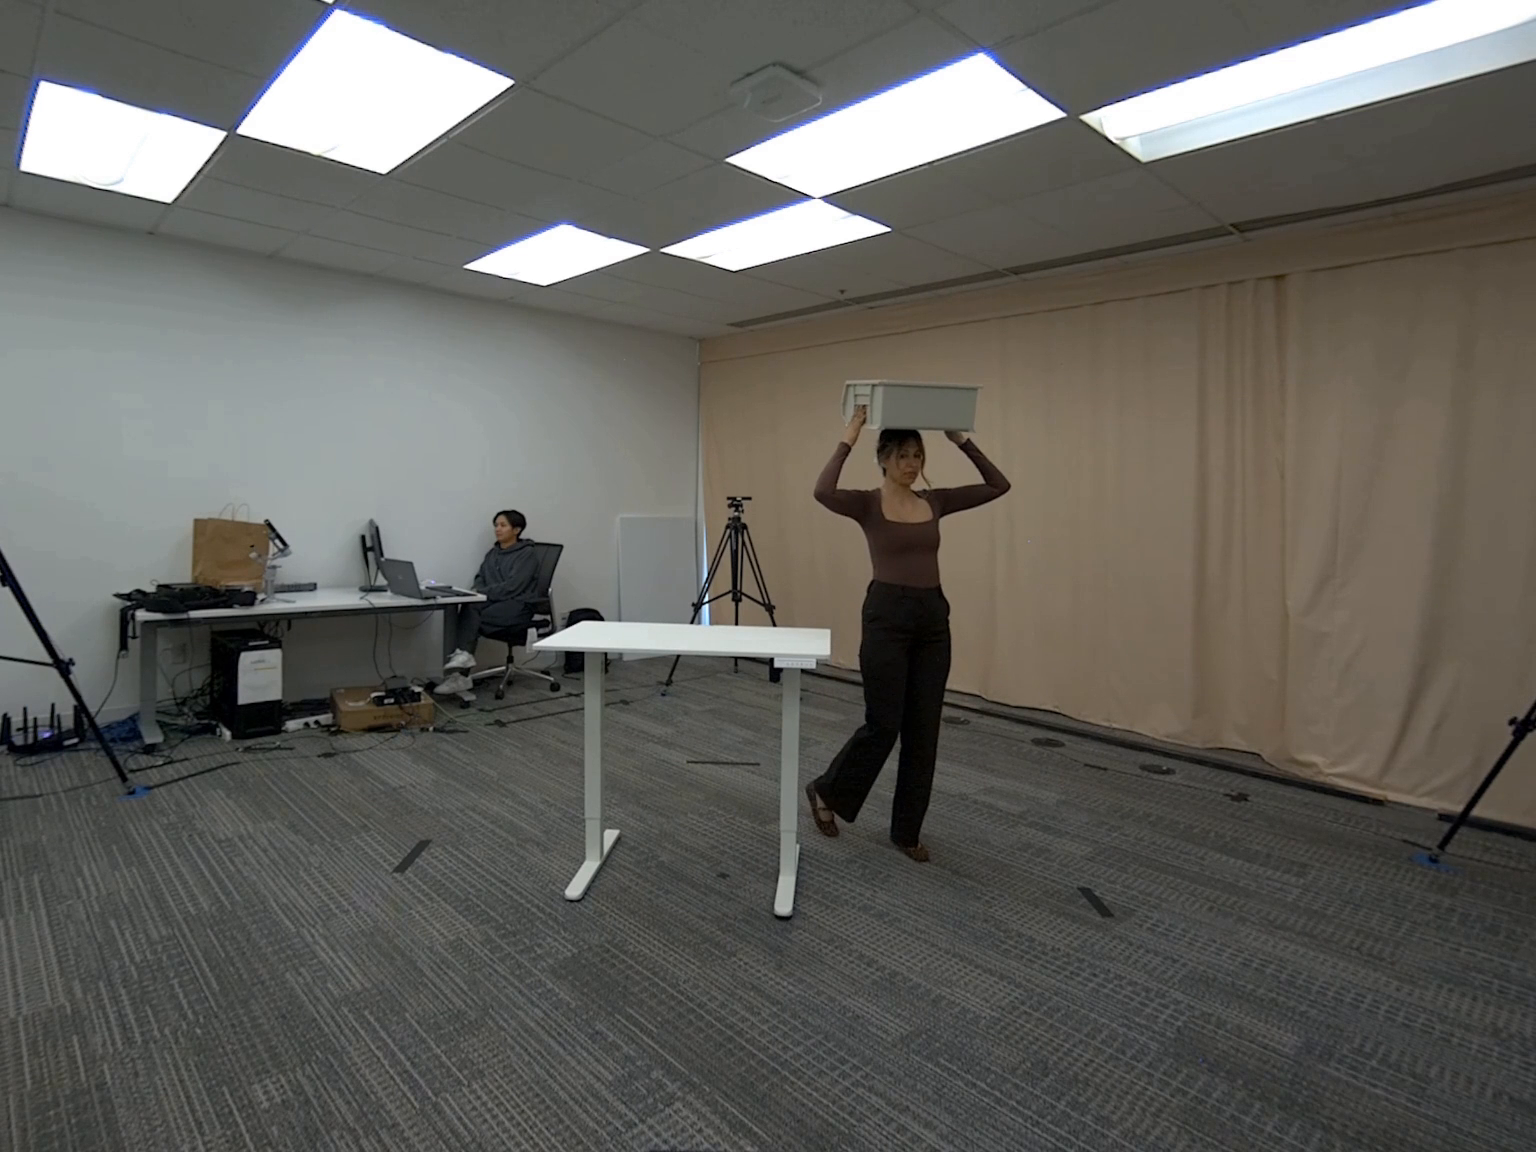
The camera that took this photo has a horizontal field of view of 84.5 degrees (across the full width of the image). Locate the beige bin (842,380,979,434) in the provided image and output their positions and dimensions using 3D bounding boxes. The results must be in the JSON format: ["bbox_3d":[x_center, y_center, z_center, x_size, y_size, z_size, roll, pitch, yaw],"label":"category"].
[{"bbox_3d":[0.544,-0.666,3.309,0.417,0.187,0.385,-1,12,-15],"label":"beige bin"}]
